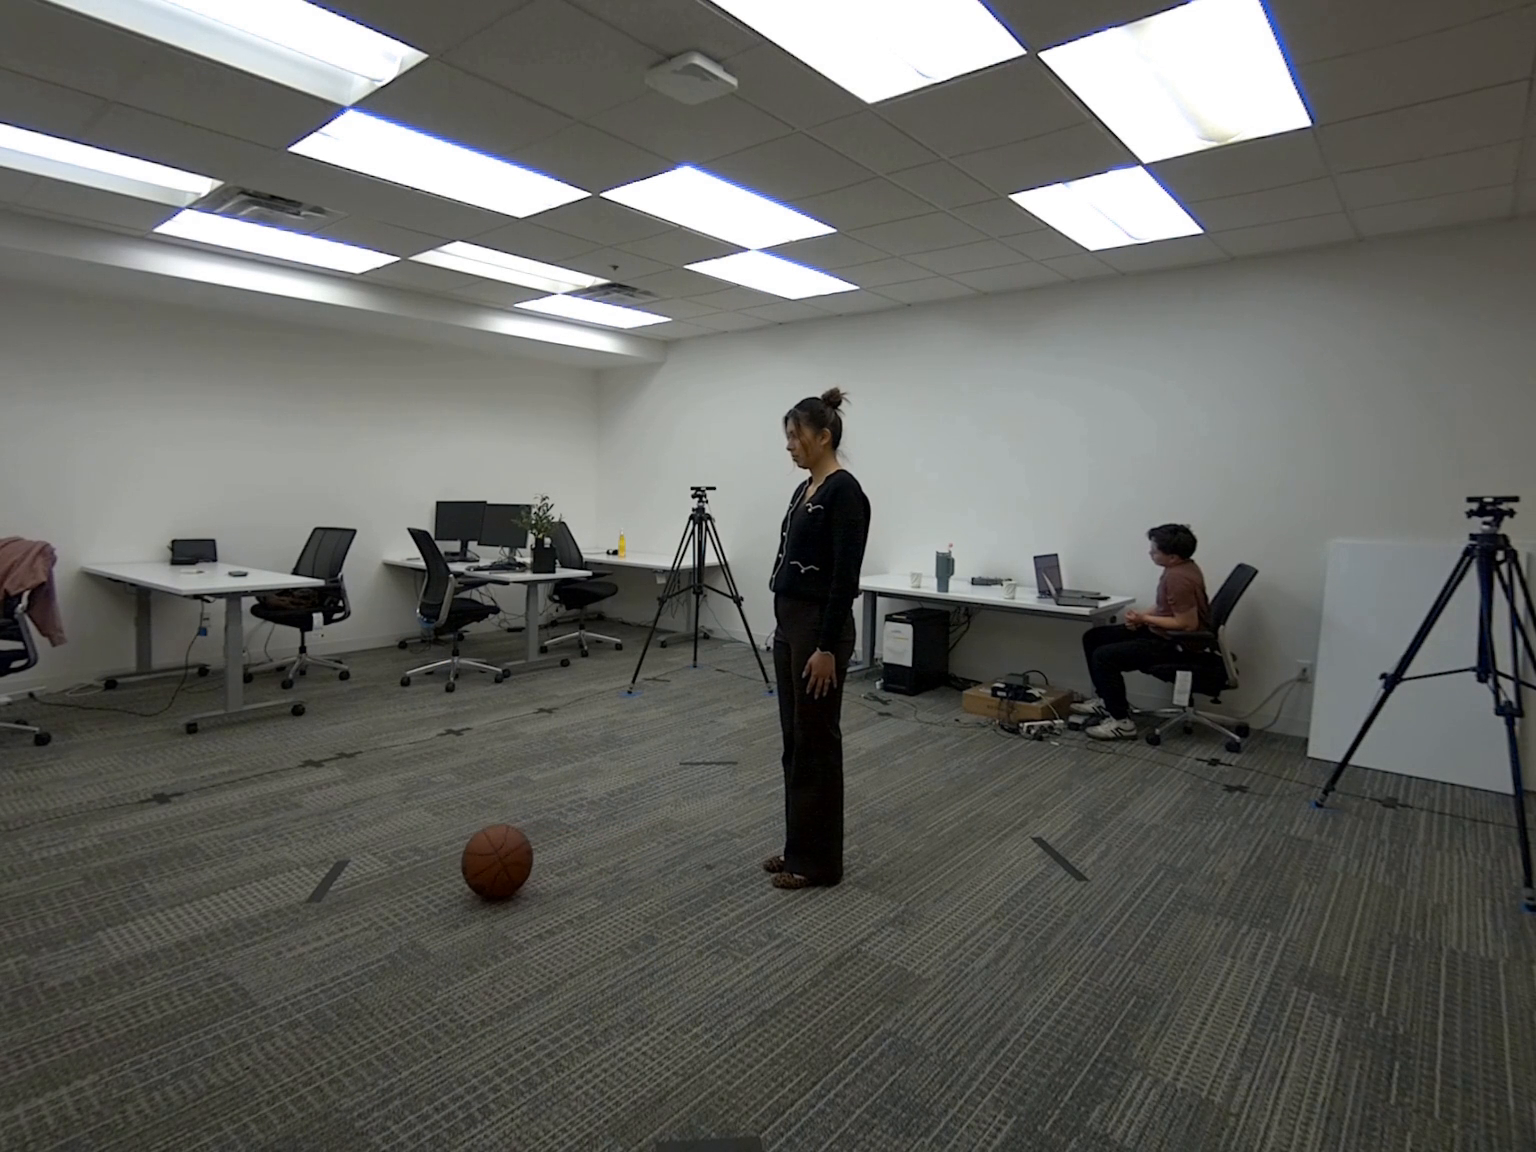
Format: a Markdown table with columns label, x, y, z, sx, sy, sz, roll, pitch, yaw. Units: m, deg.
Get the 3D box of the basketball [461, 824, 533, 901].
| label | x | y | z | sx | sy | sz | roll | pitch | yaw |
| --- | --- | --- | --- | --- | --- | --- | --- | --- | --- |
| basketball | -0.927 | 0.957 | 2.876 | 0.235 | 0.235 | 0.237 | 1 | 4 | -2 |
